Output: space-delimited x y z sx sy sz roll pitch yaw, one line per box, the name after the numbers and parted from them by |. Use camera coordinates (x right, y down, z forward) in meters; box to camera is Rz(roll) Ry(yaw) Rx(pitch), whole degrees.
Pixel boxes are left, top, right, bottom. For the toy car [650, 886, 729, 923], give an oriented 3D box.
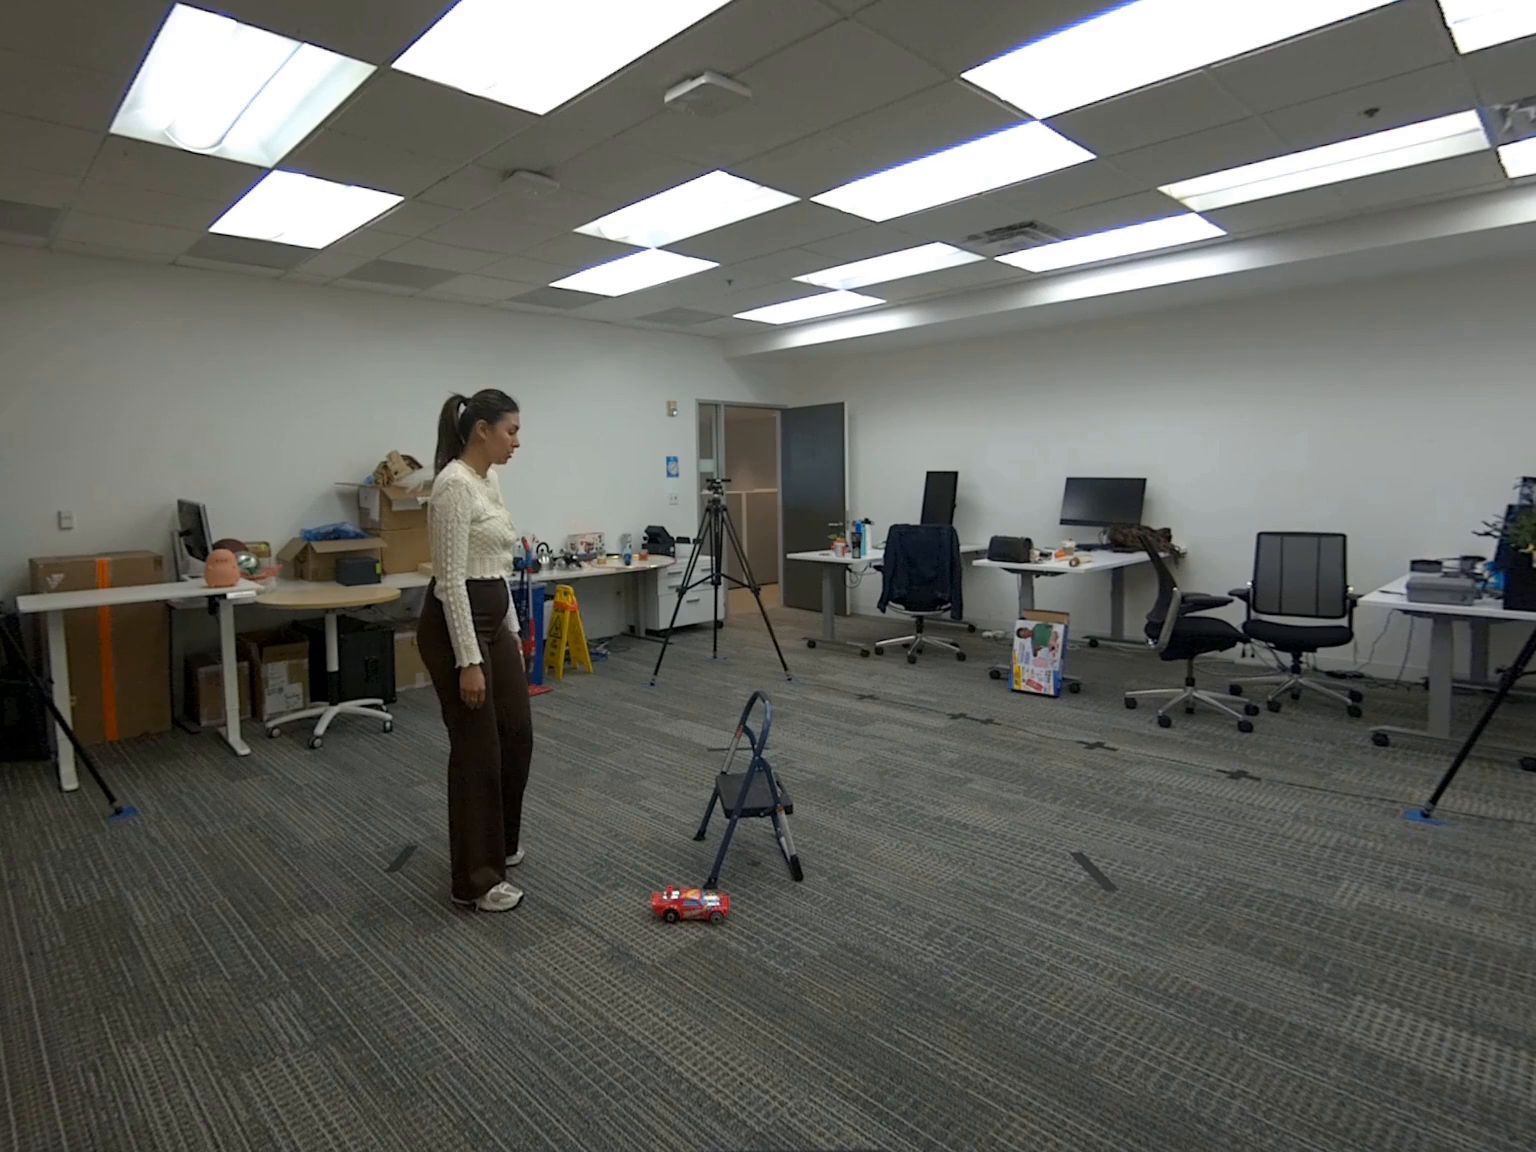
-0.256 1.059 2.737 0.255 0.083 0.130 11 5 1 | toy car
